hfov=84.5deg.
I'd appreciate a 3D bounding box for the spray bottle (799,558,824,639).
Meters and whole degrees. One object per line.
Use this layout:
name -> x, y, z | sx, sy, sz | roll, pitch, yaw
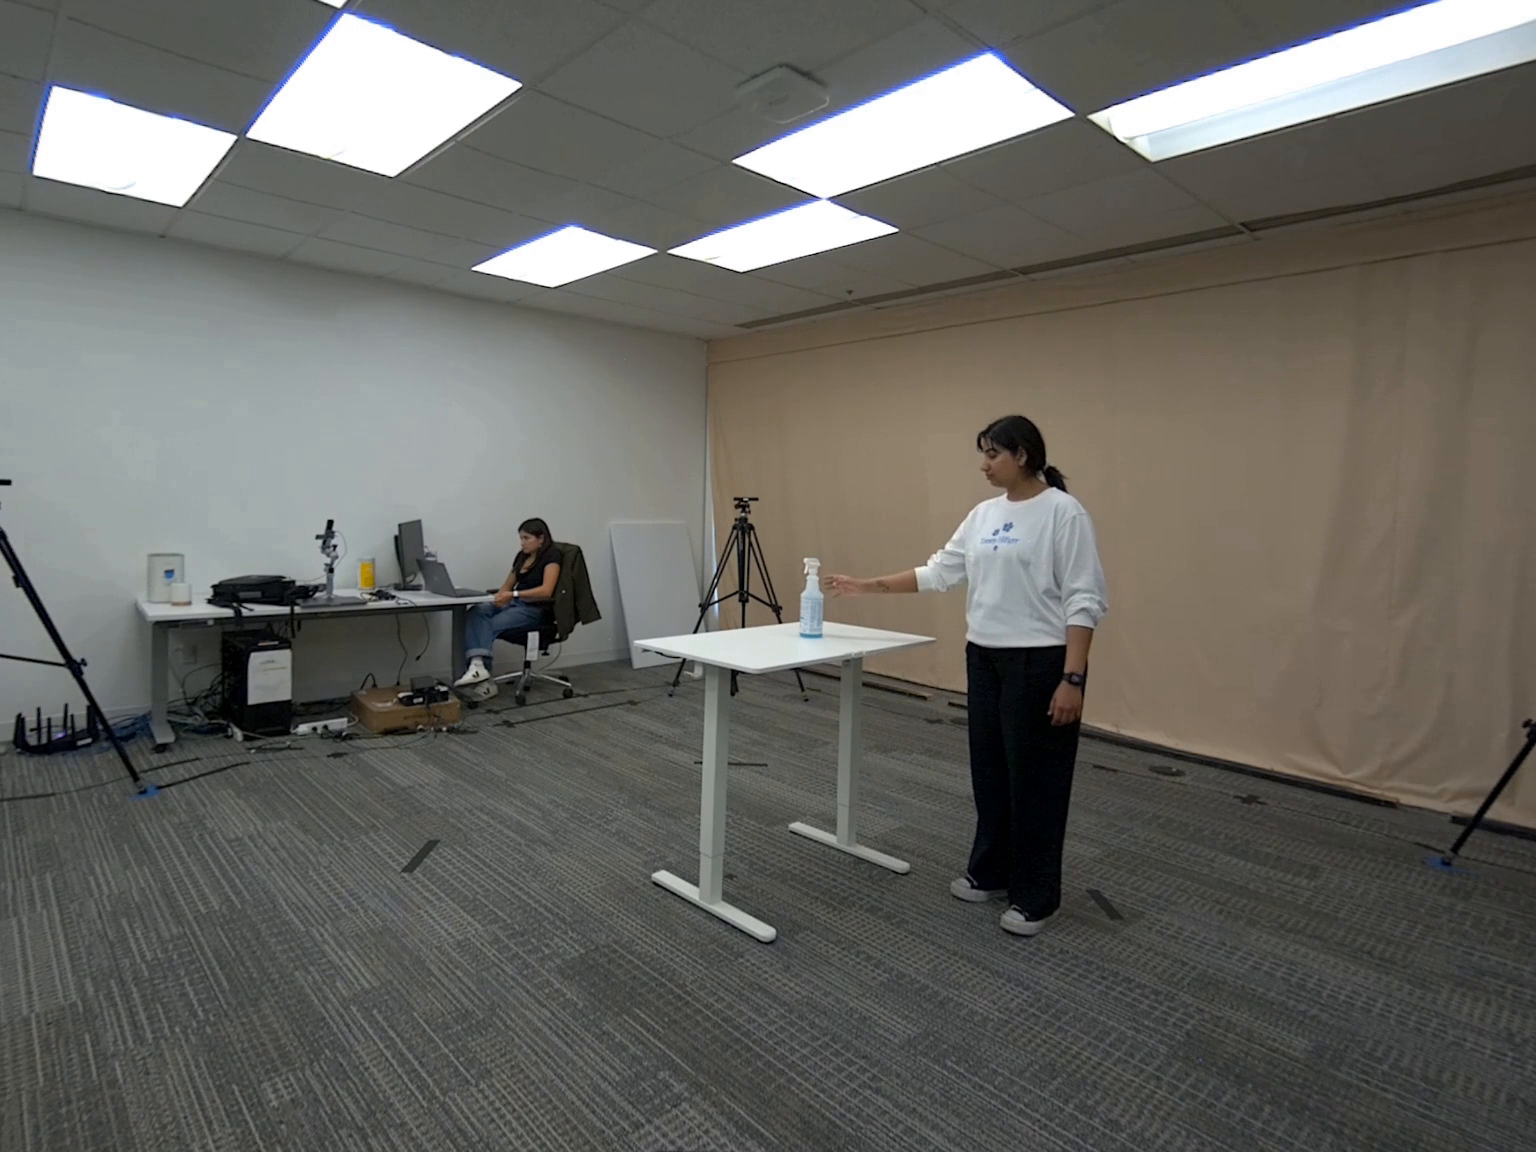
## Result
spray bottle -> 0.167, 0.083, 3.166 | 0.088, 0.296, 0.089 | 0, 4, -23
